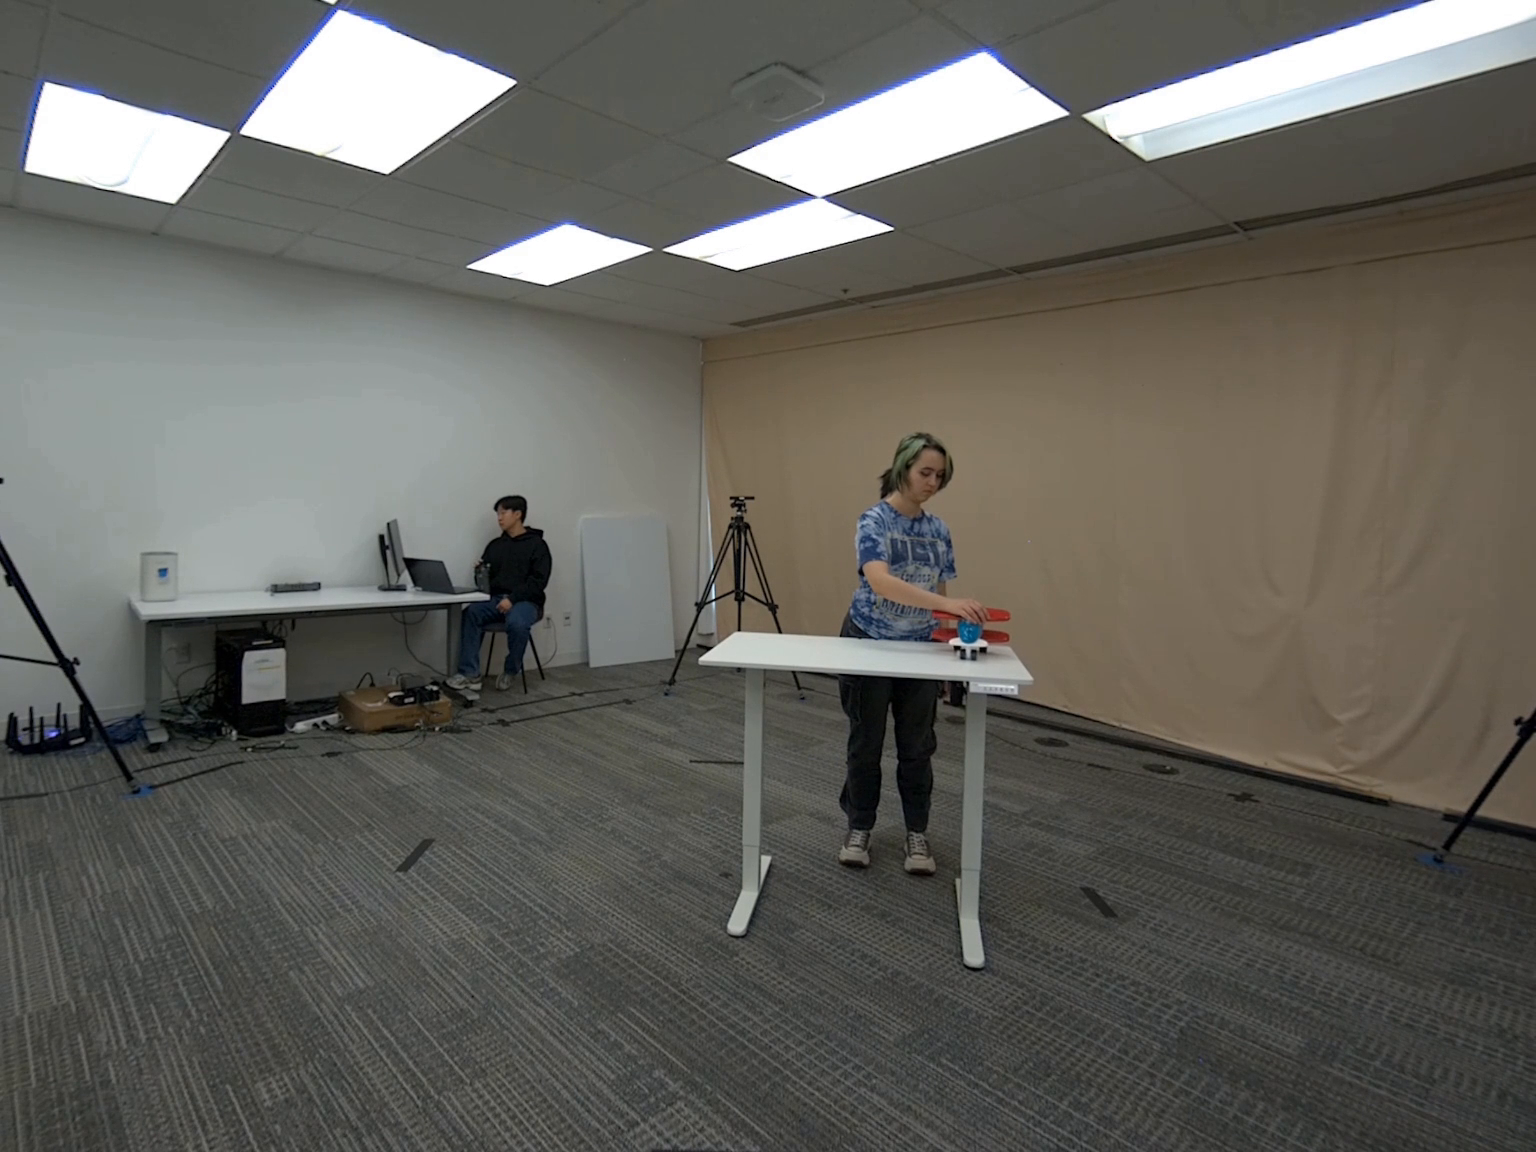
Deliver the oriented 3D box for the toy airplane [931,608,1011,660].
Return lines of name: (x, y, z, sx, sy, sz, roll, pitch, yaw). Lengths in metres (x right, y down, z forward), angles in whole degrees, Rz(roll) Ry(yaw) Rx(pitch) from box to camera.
toy airplane: (0.686, 0.191, 2.825, 0.248, 0.156, 0.263, 0, 4, -14)
